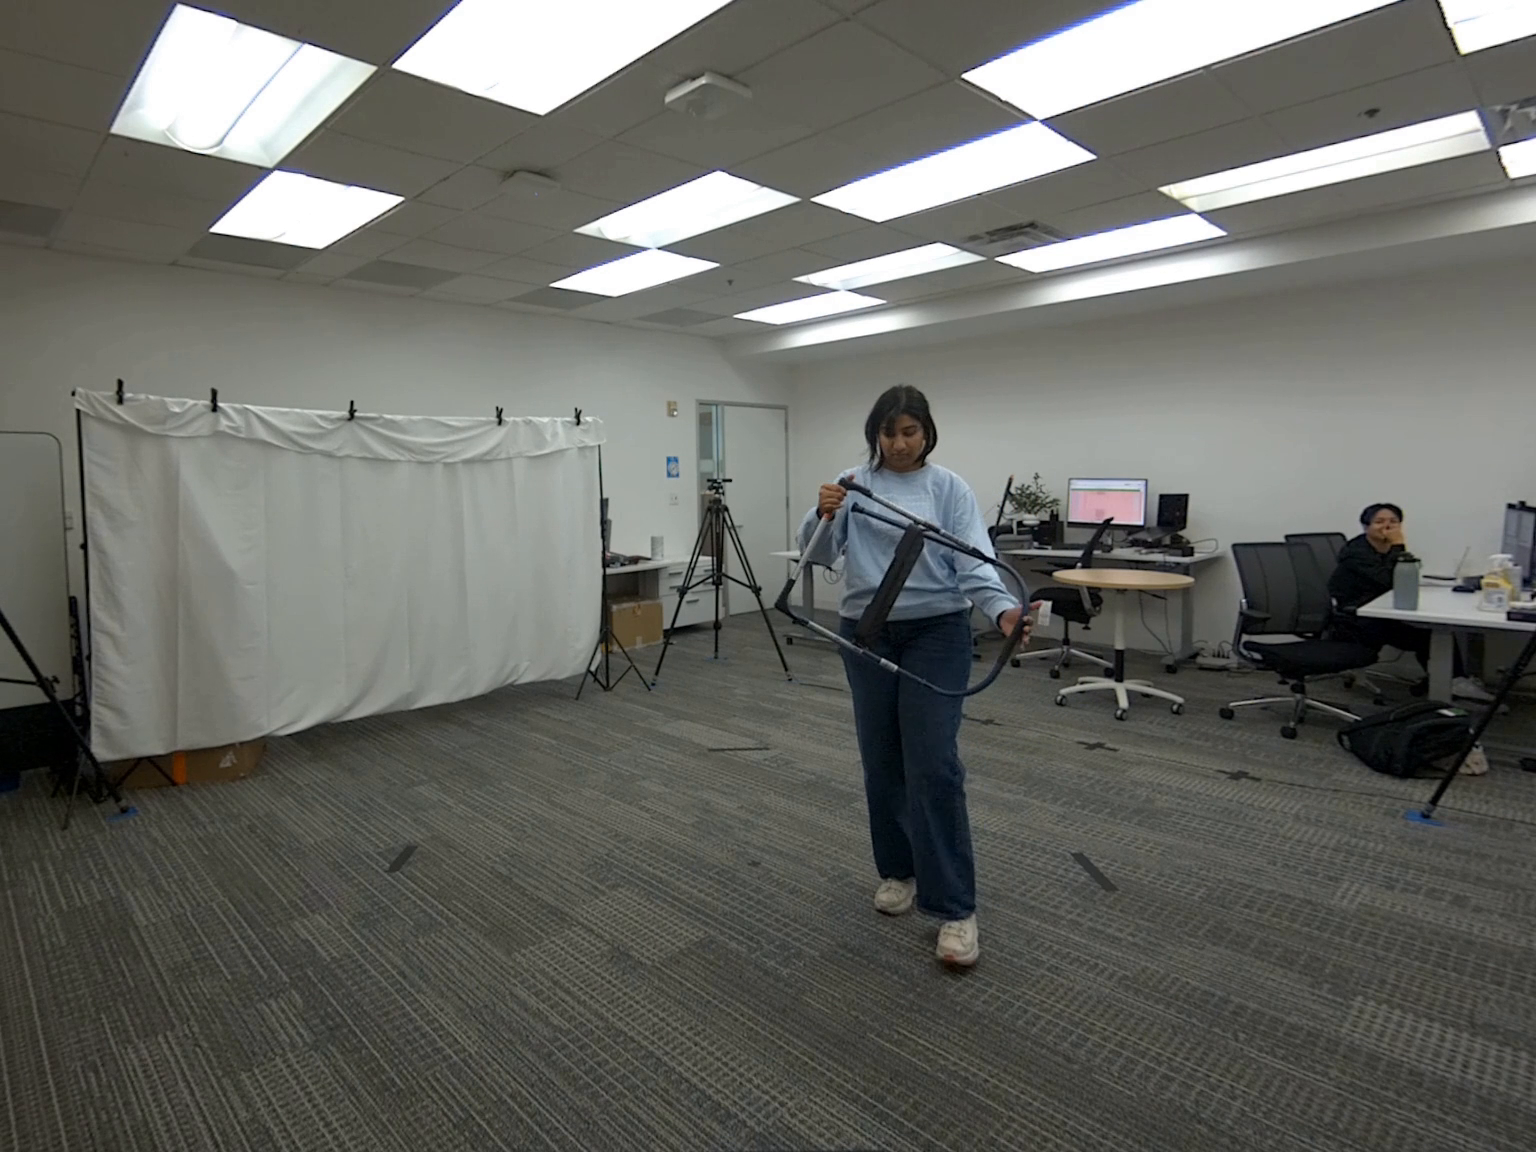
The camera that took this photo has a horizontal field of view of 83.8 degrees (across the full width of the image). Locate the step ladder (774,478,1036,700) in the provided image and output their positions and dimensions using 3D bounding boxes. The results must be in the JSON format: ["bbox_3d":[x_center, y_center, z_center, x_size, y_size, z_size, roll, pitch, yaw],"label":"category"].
[{"bbox_3d":[0.399,0.077,2.407,0.621,0.431,0.340,28,-2,19],"label":"step ladder"}]
